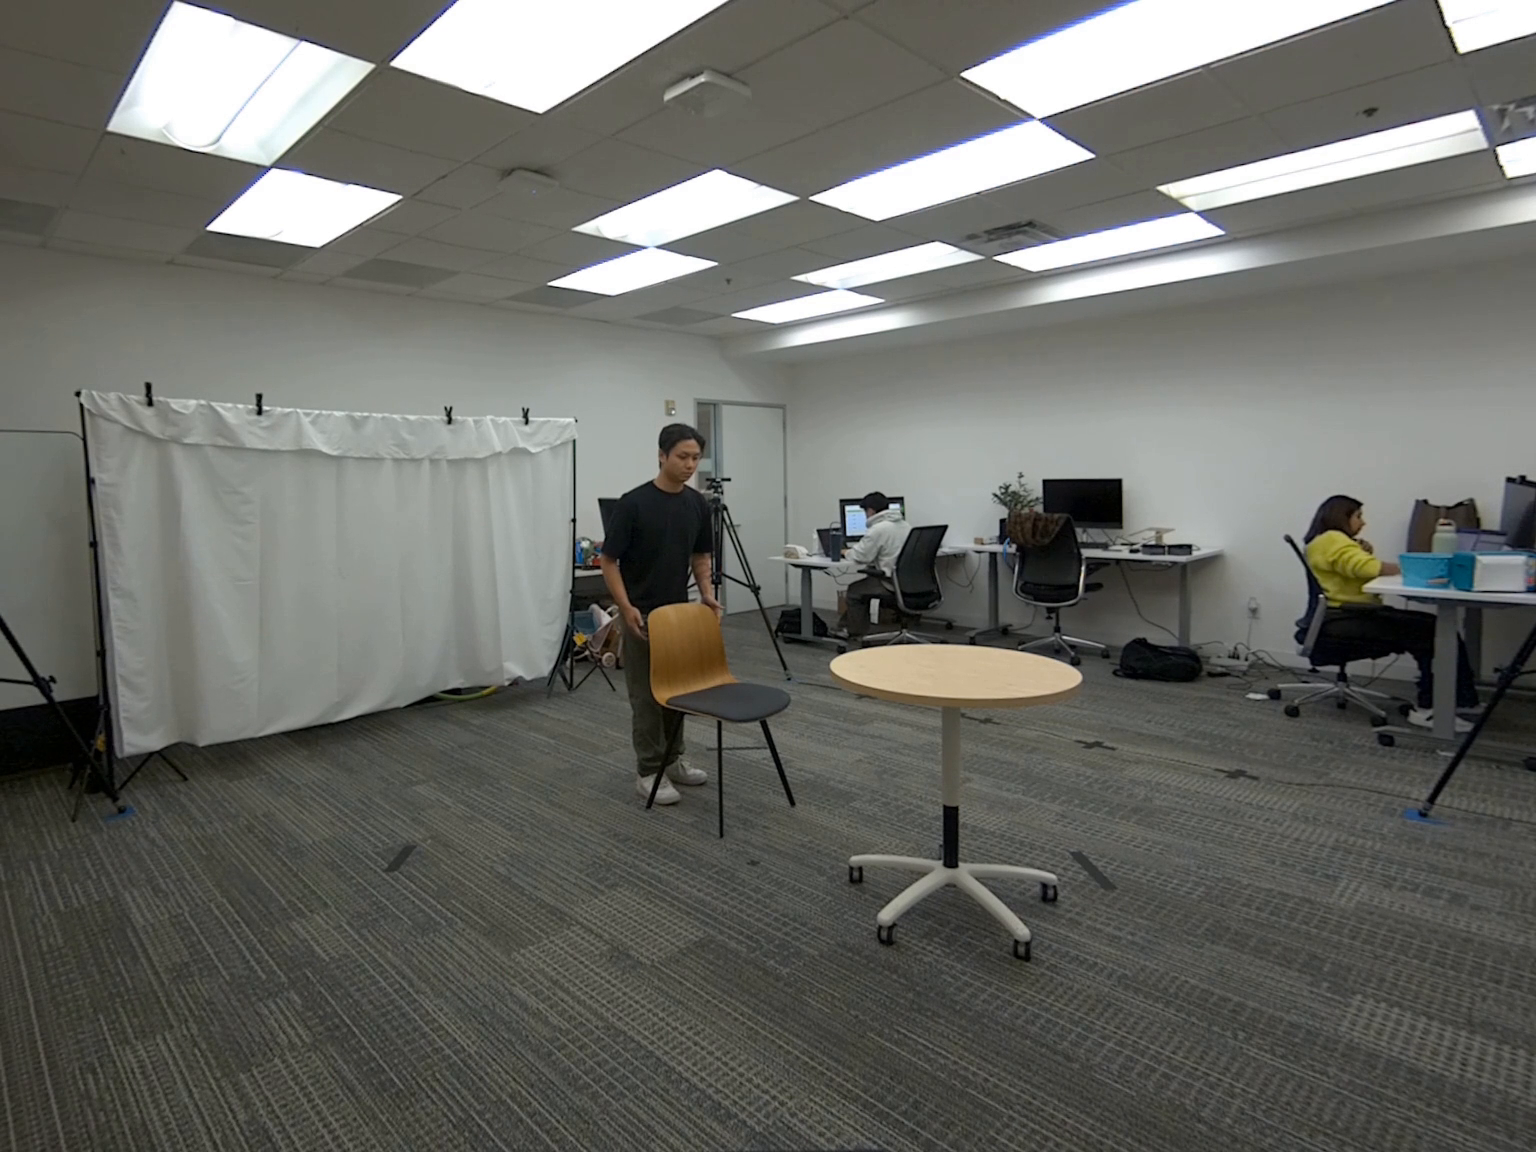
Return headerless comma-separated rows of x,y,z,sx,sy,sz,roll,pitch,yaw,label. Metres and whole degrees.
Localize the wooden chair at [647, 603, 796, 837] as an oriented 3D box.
-0.201,0.559,3.596,0.537,0.877,0.465,-4,1,43,wooden chair
